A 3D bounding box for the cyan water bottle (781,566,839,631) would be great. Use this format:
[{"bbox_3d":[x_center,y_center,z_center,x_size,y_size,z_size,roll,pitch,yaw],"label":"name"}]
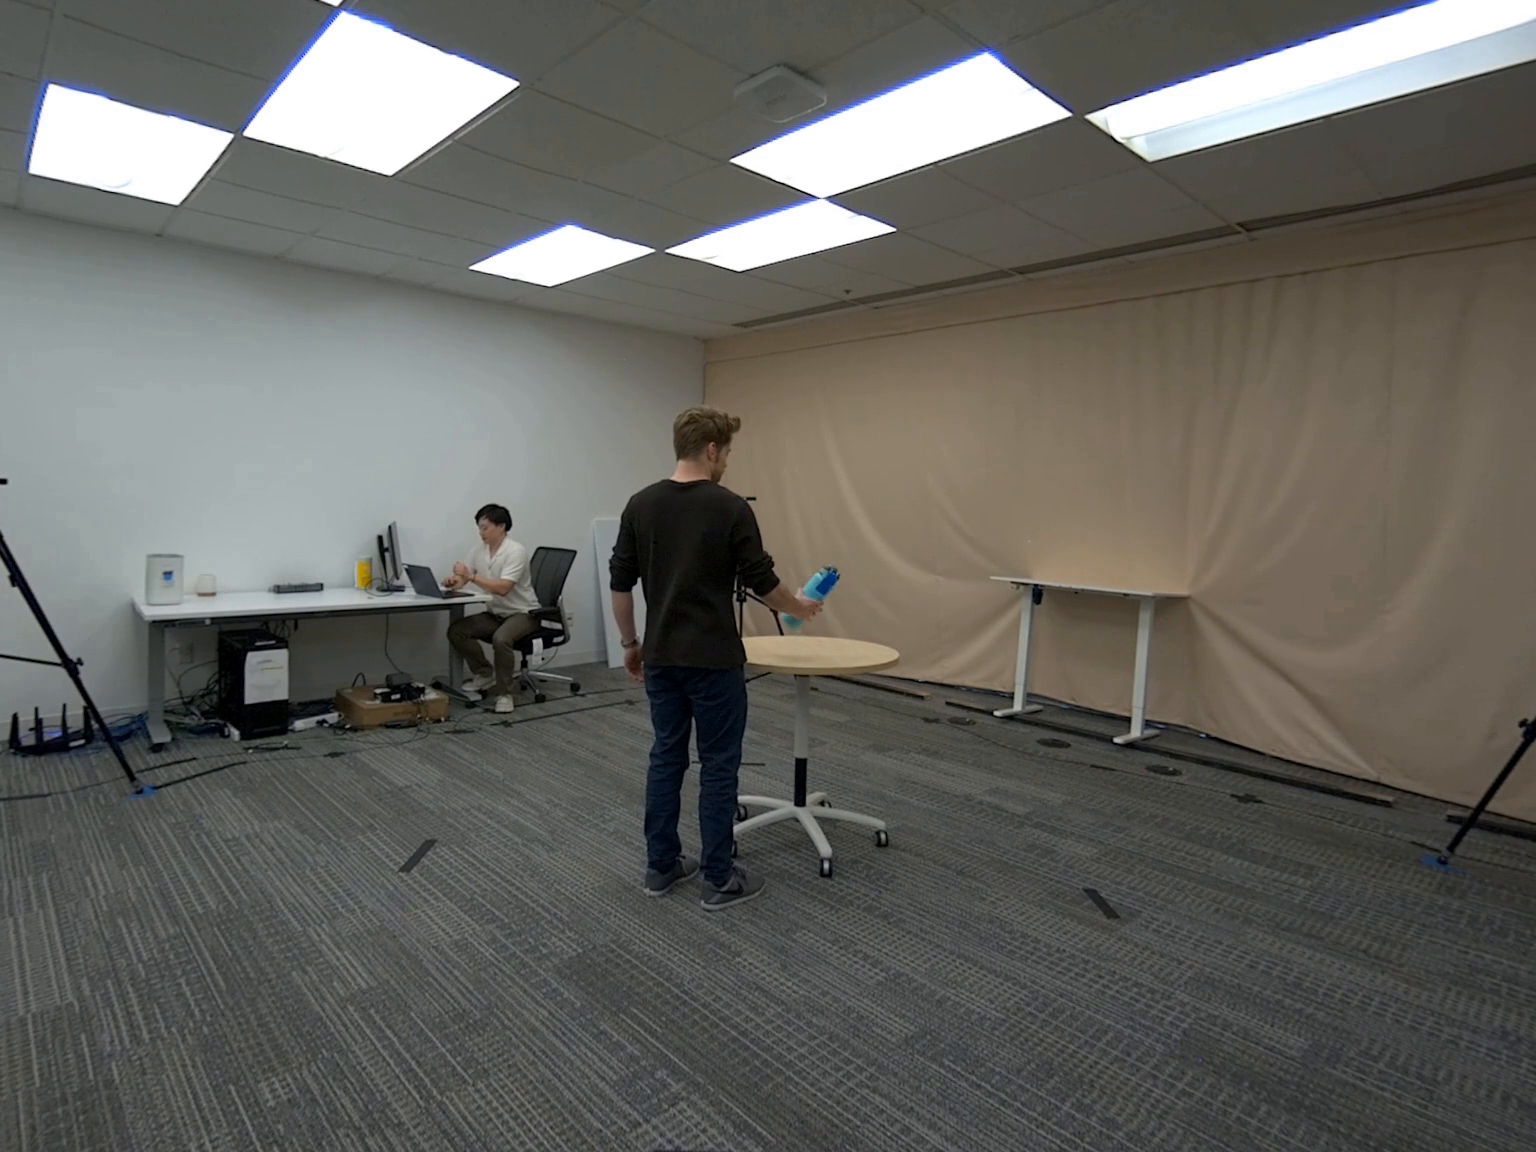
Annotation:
[{"bbox_3d":[0.165,0.079,3.239,0.092,0.283,0.093,37,7,-8],"label":"cyan water bottle"}]
